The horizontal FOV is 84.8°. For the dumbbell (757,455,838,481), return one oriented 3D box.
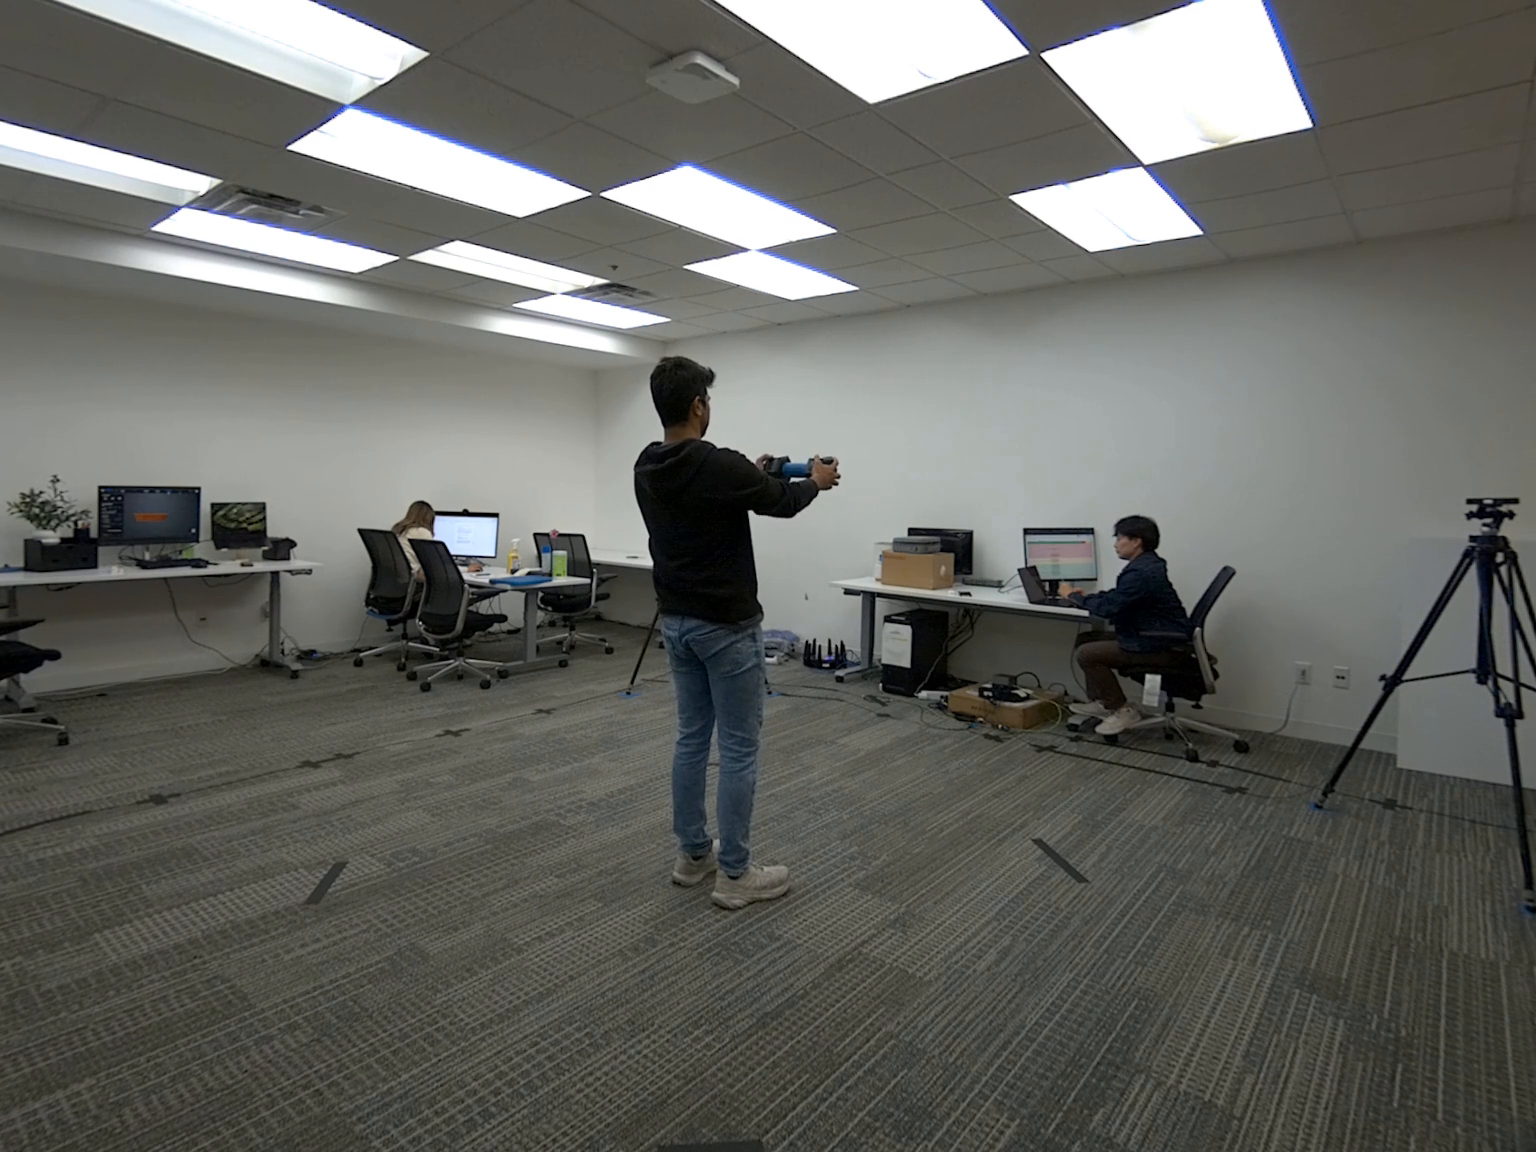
[{"bbox_3d":[0.102,-0.395,3.272,0.304,0.124,0.104,9,-16,43],"label":"dumbbell"}]
